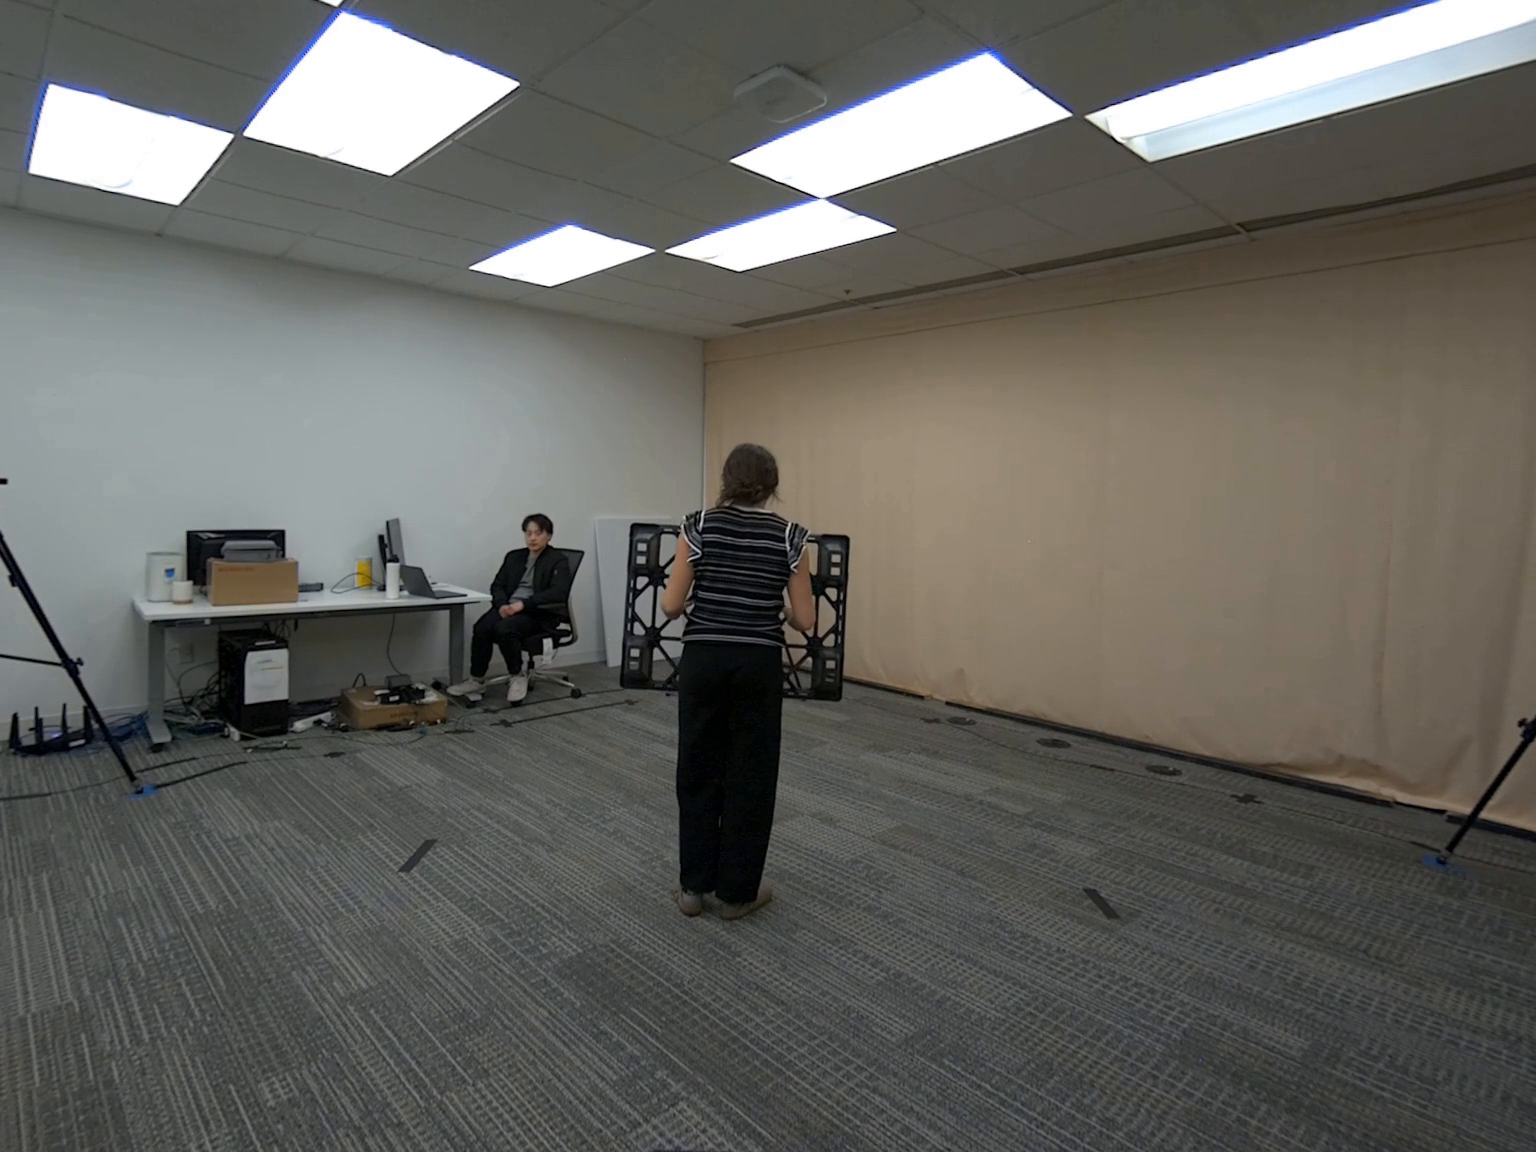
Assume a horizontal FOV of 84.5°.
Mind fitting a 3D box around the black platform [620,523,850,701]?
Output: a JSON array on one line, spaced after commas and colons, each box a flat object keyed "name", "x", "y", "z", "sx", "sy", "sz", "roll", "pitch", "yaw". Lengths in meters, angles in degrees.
[{"name": "black platform", "x": -0.123, "y": 0.128, "z": 2.997, "sx": 0.806, "sy": 0.606, "sz": 0.143, "roll": 3, "pitch": -3, "yaw": 1}]
